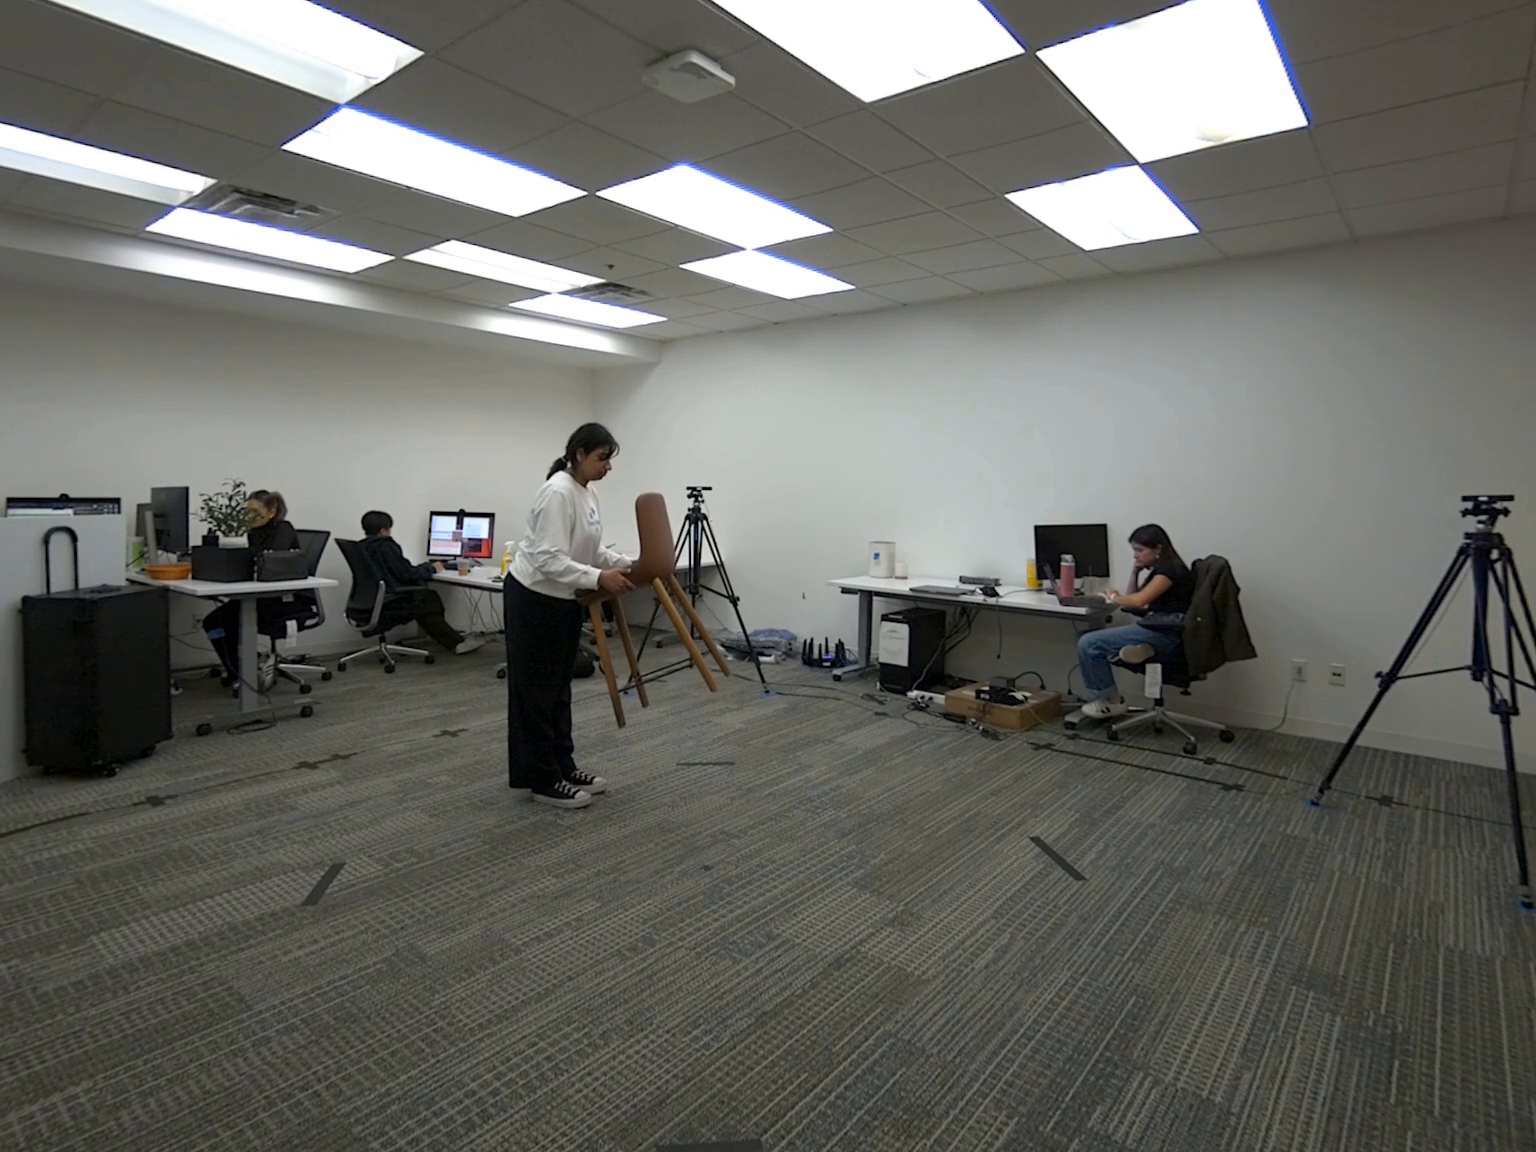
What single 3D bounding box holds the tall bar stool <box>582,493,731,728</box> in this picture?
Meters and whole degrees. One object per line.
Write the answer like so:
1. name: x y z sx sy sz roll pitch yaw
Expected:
1. tall bar stool: -0.559 0.138 3.724 0.471 0.892 0.452 -20 -1 10
